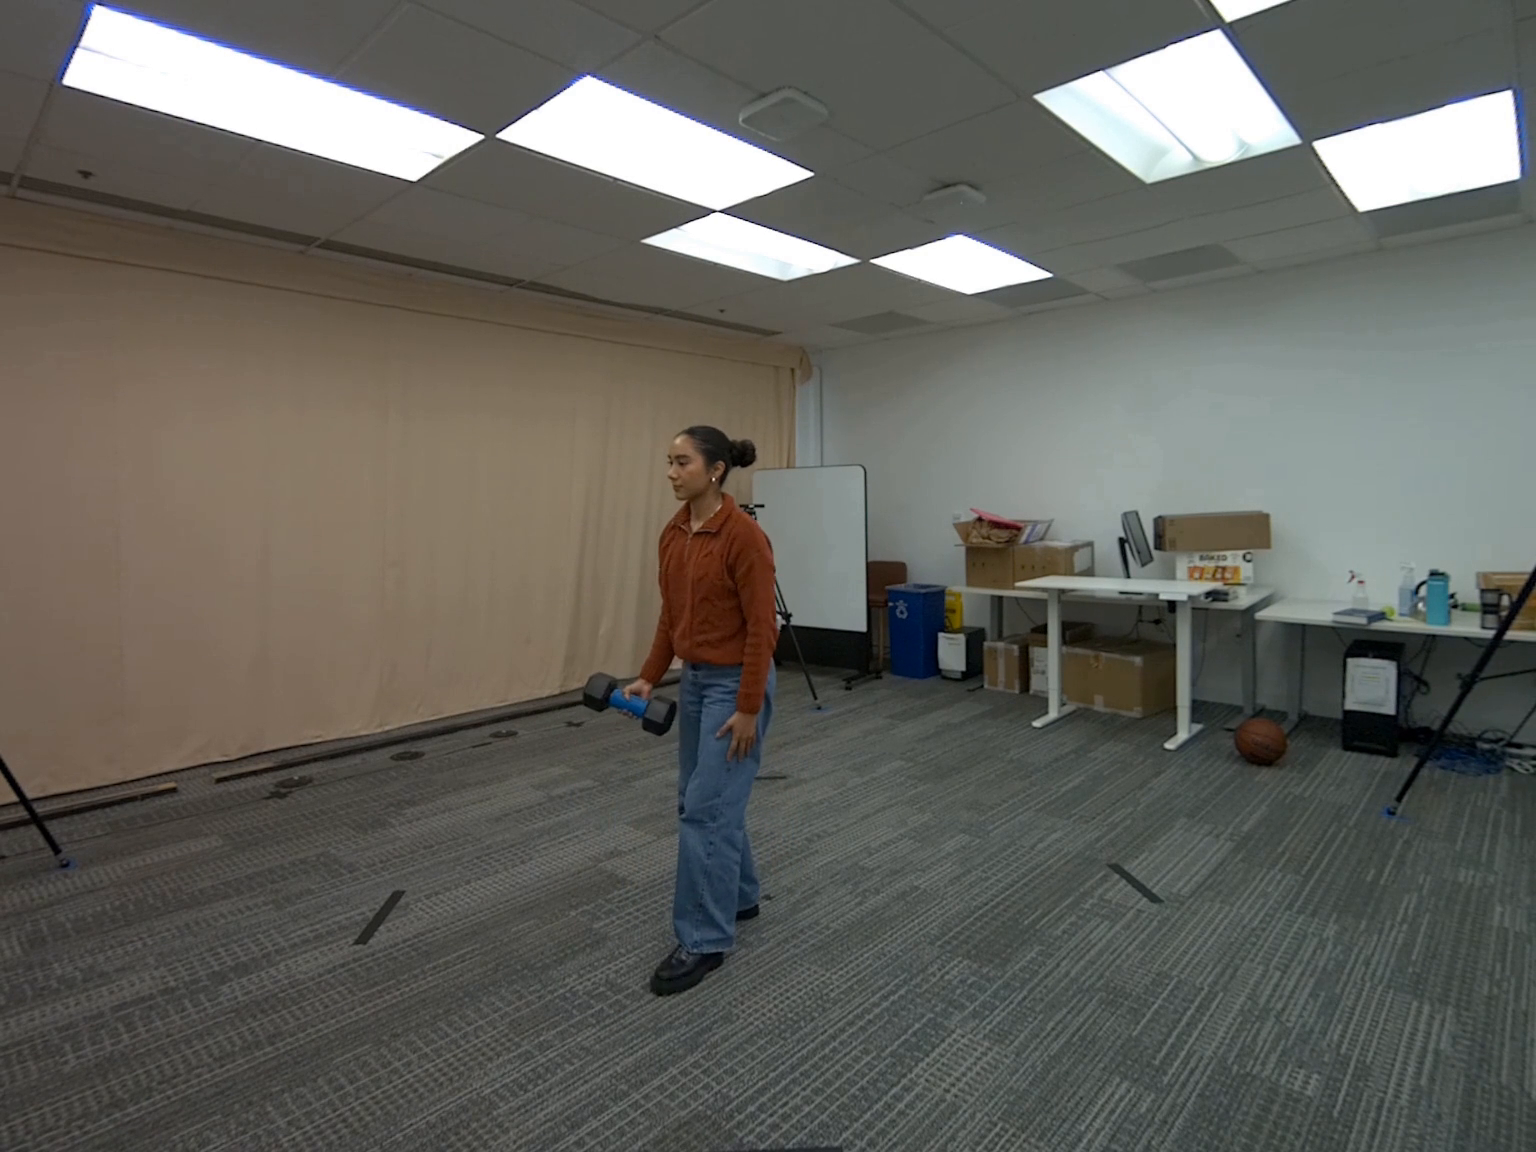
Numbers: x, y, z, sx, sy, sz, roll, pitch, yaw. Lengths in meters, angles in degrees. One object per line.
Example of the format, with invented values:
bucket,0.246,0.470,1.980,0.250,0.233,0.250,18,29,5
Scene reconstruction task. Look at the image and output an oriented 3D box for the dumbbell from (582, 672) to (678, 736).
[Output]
dumbbell,-0.440,0.412,2.681,0.298,0.123,0.107,18,-22,12
